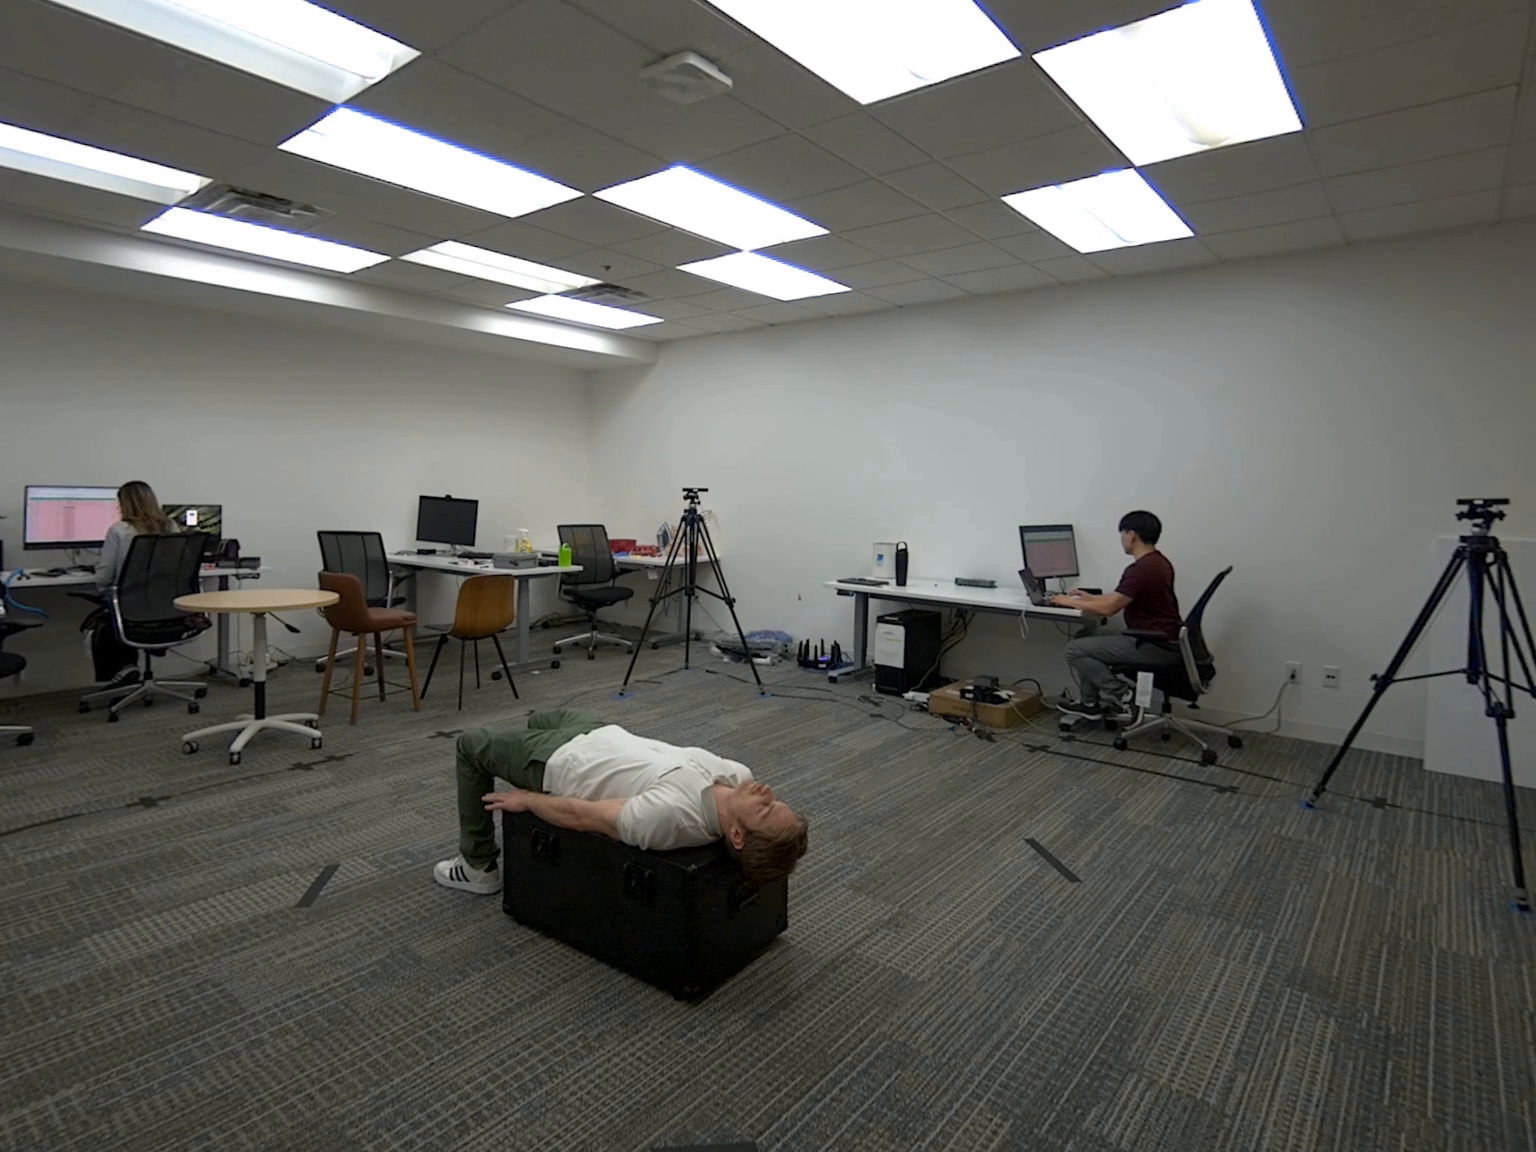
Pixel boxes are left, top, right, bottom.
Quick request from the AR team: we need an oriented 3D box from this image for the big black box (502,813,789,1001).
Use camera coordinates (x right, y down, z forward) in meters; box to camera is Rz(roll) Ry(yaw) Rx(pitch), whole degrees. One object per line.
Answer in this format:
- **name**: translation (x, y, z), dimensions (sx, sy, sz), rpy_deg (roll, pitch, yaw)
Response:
- **big black box**: translation (-0.428, 0.918, 2.704), dimensions (0.896, 0.384, 0.509), rpy_deg (4, 6, 36)
